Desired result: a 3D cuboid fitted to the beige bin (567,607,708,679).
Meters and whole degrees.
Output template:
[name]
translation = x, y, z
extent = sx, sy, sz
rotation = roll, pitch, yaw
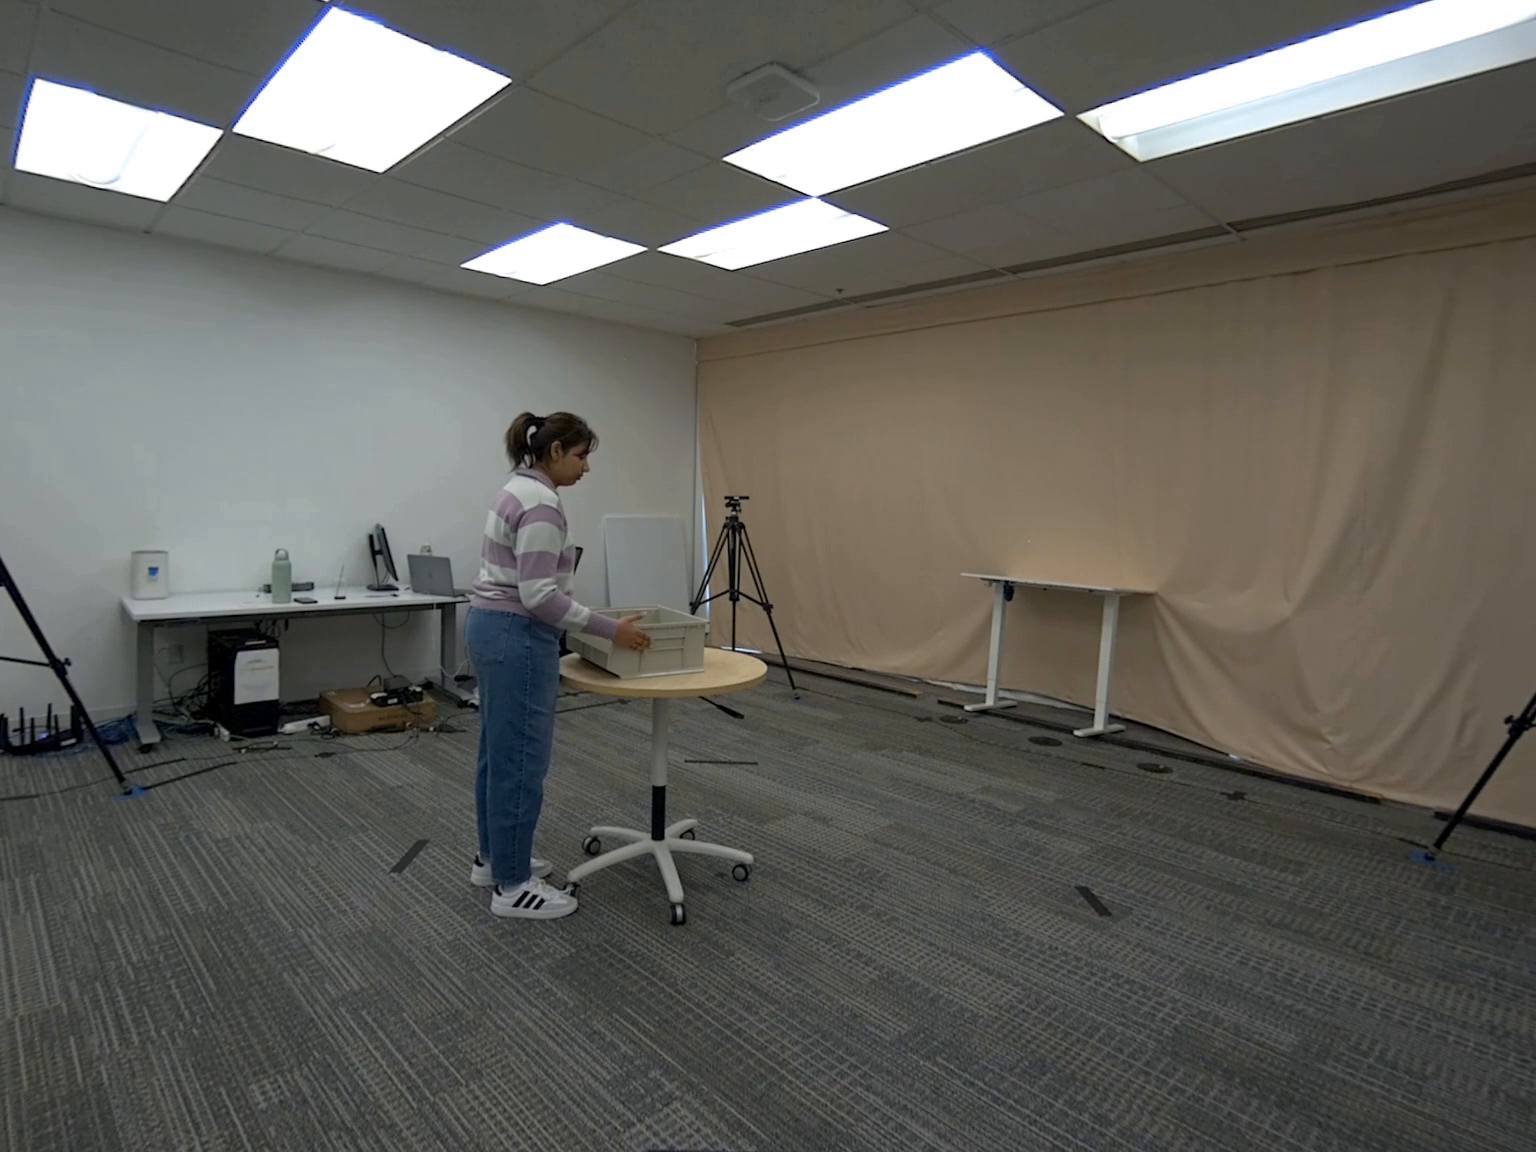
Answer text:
[beige bin]
translation = -0.483, 0.228, 3.017
extent = 0.369, 0.188, 0.432
rotation = 1, 4, -30
